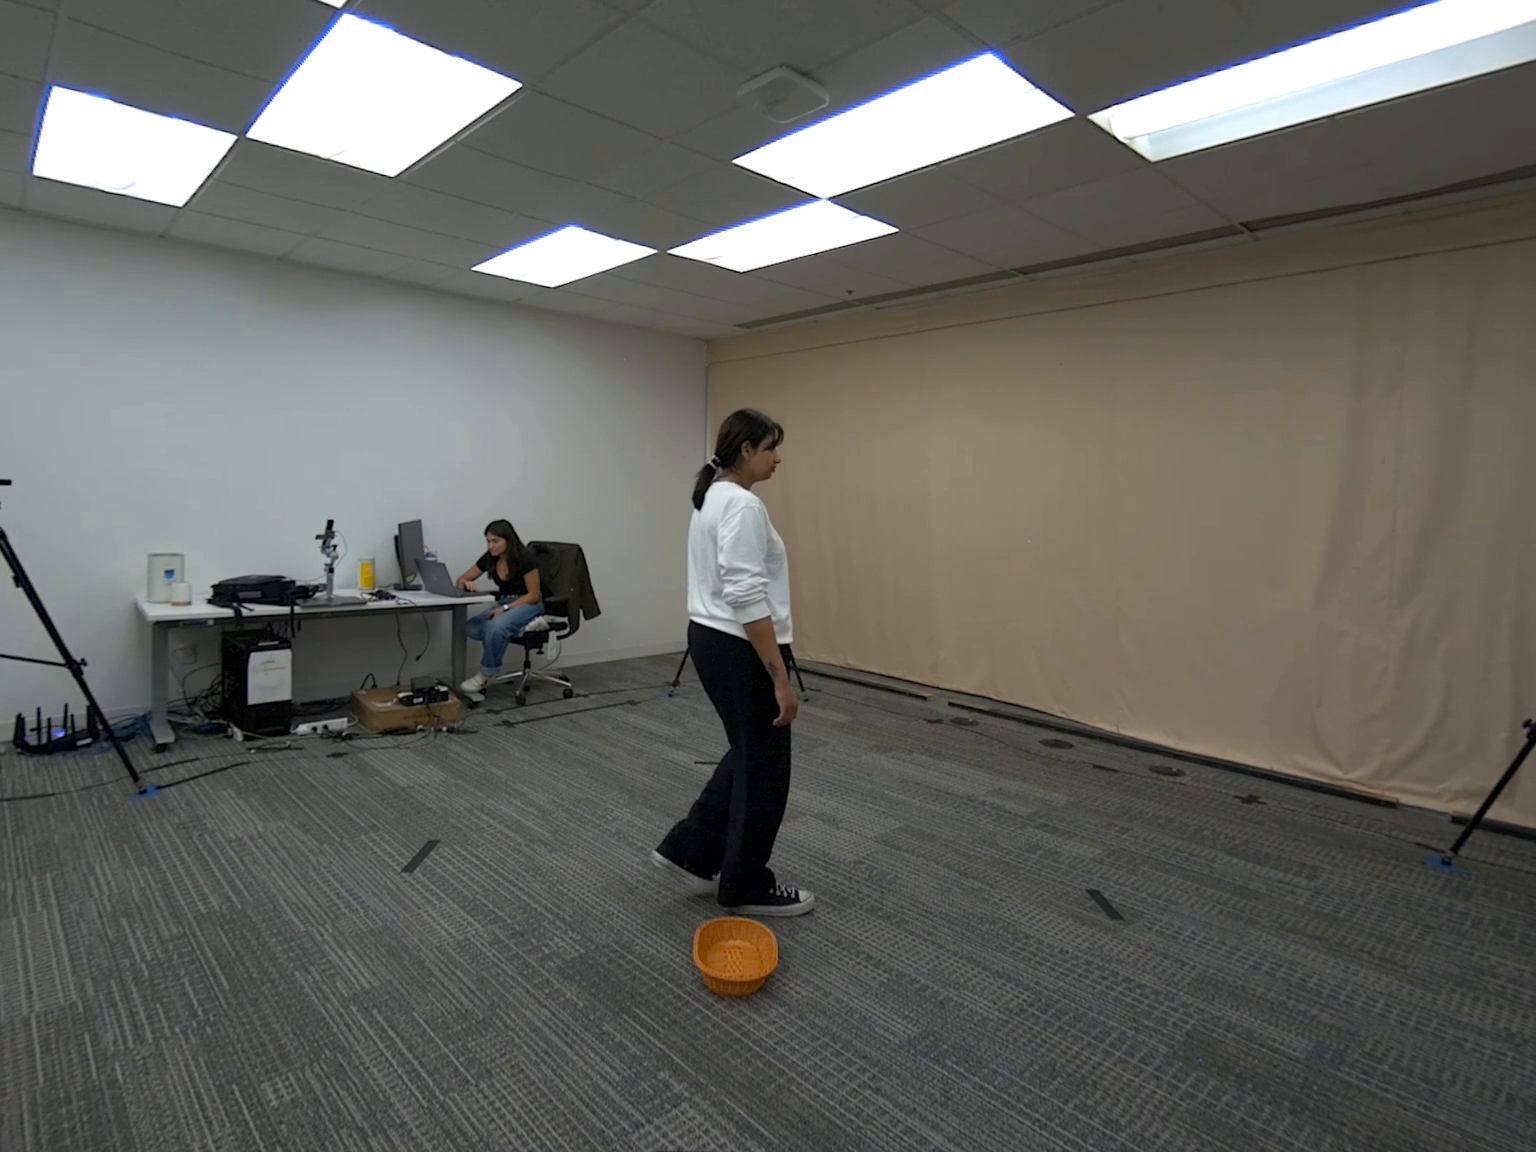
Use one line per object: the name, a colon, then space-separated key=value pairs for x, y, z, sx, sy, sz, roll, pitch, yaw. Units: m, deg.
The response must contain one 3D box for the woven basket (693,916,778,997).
woven basket: x=-0.109 y=1.129 z=2.484 sx=0.253 sy=0.073 sz=0.350 roll=3 pitch=5 yaw=2
